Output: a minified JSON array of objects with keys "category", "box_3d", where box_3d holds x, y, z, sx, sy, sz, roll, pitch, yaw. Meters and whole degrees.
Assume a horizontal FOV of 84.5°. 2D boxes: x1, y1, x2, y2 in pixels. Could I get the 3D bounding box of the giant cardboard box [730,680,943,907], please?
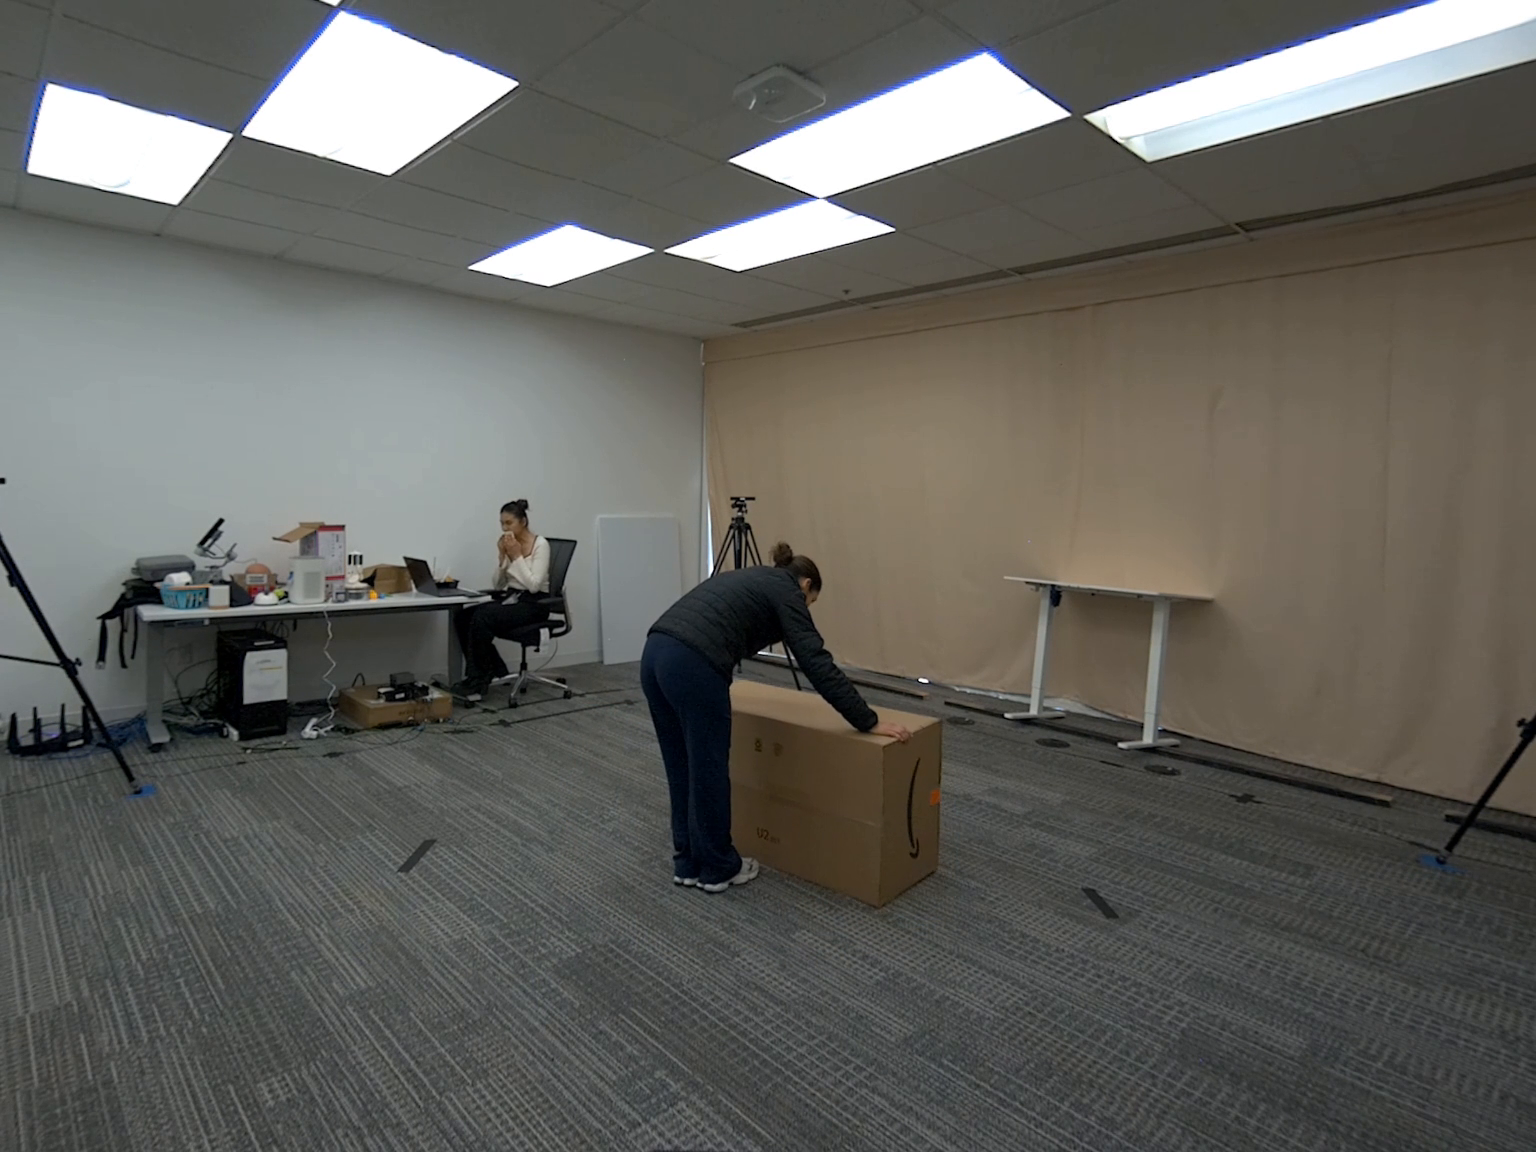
[{"category":"giant cardboard box","box_3d":[0.115,0.805,3.340,1.053,0.581,0.437,5,8,40]}]
